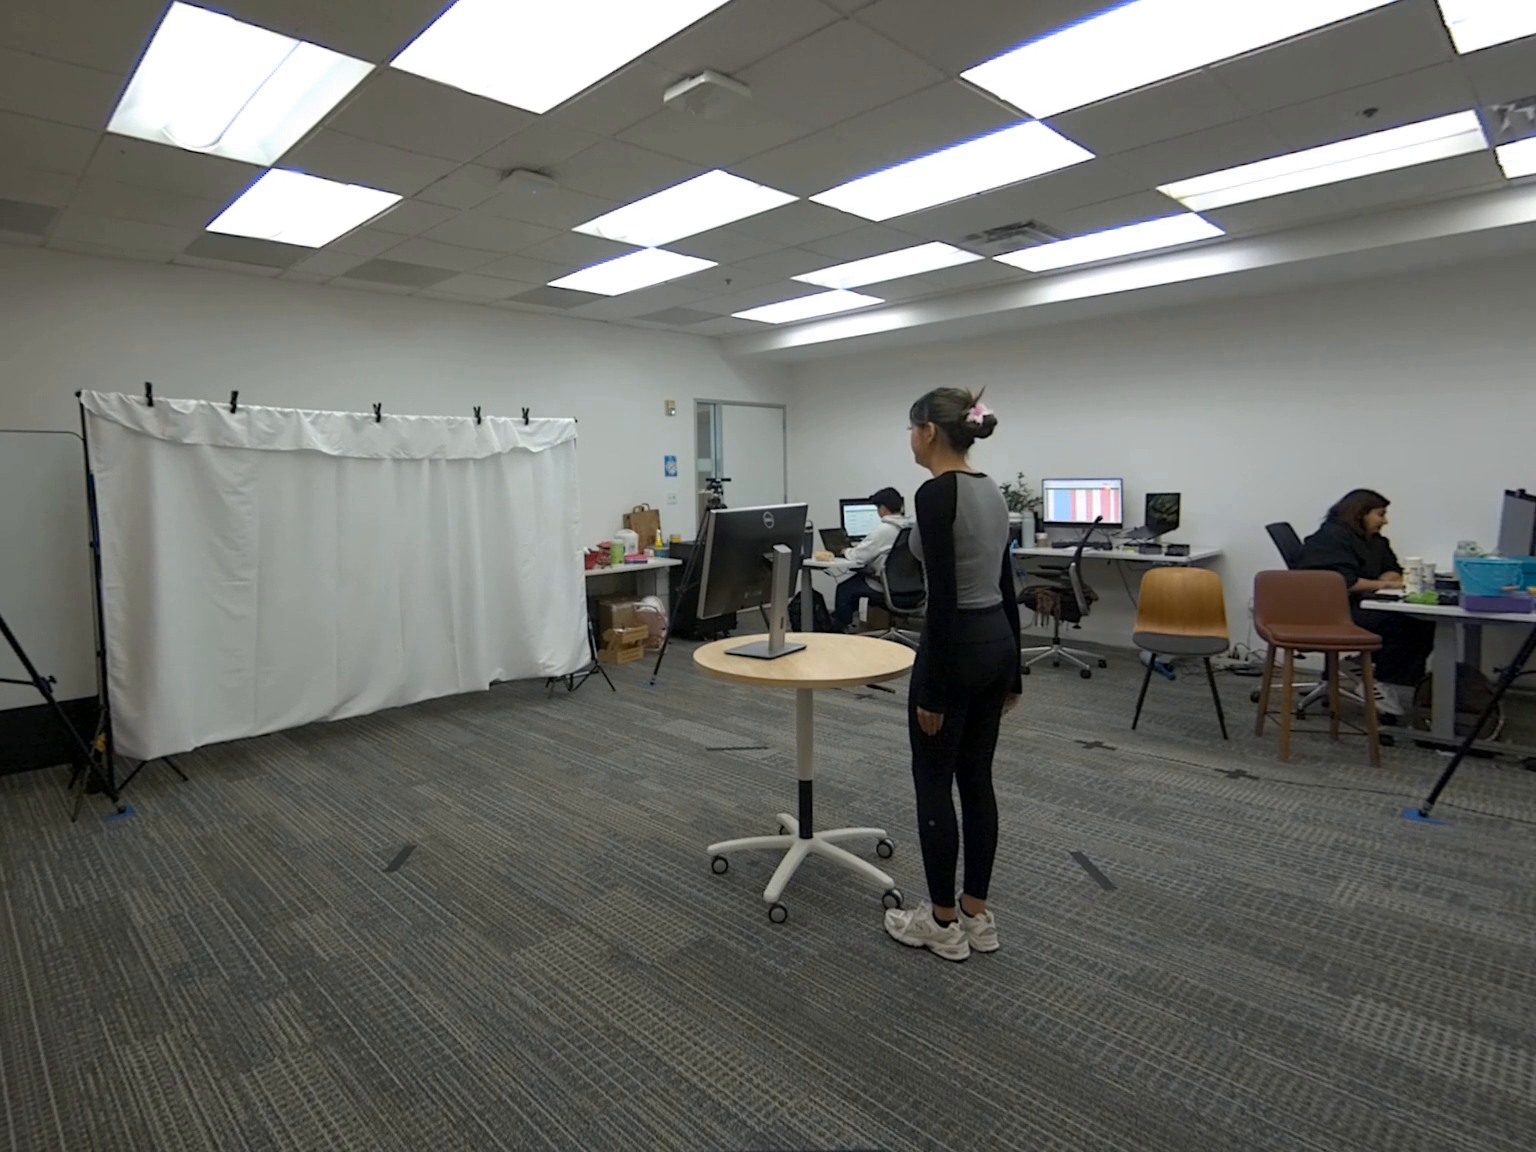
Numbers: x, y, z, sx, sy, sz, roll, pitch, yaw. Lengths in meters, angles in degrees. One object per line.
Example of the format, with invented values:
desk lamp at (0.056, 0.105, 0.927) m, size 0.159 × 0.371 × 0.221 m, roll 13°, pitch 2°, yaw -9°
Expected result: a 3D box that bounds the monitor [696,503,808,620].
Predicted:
monitor at (-0.010, 0.022, 2.977) m, size 0.192 × 0.521 × 0.526 m, roll -2°, pitch 3°, yaw 35°
